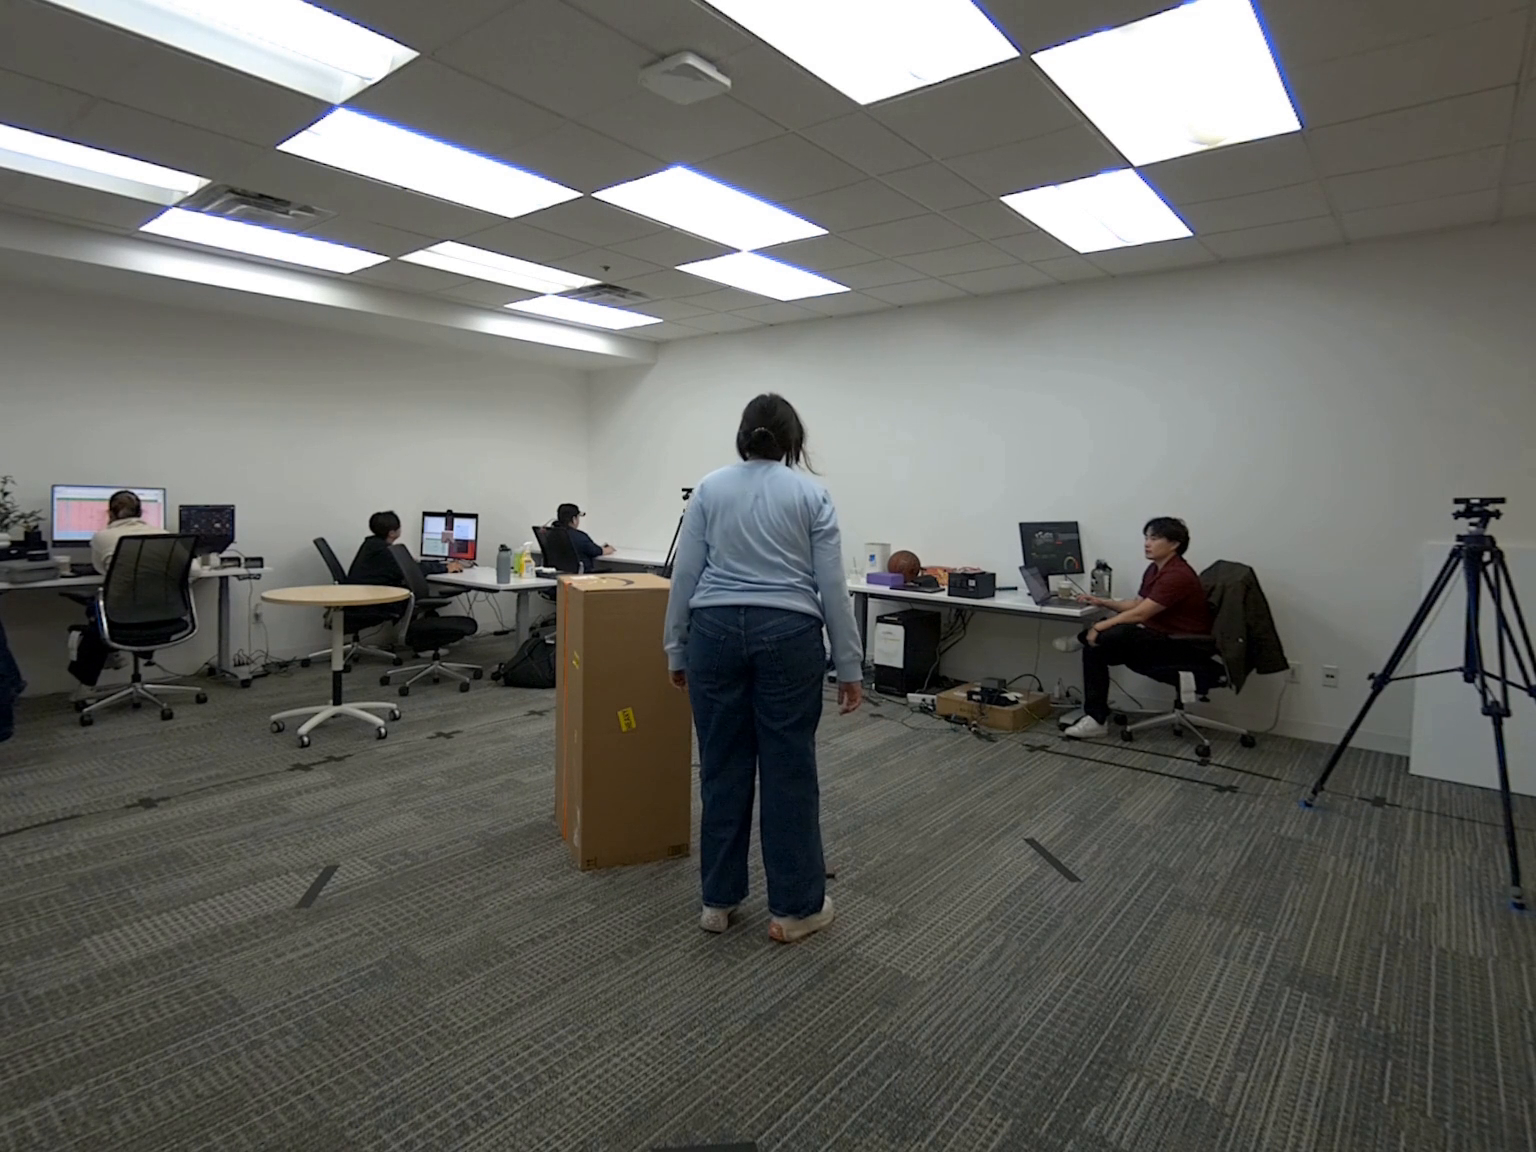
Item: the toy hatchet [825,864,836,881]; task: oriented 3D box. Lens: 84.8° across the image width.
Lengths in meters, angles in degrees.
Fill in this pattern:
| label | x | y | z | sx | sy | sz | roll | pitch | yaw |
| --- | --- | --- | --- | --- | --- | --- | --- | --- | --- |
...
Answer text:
| label | x | y | z | sx | sy | sz | roll | pitch | yaw |
| --- | --- | --- | --- | --- | --- | --- | --- | --- | --- |
| toy hatchet | 0.157 | 1.060 | 3.173 | 0.130 | 0.029 | 0.273 | 1 | 7 | -8 |
